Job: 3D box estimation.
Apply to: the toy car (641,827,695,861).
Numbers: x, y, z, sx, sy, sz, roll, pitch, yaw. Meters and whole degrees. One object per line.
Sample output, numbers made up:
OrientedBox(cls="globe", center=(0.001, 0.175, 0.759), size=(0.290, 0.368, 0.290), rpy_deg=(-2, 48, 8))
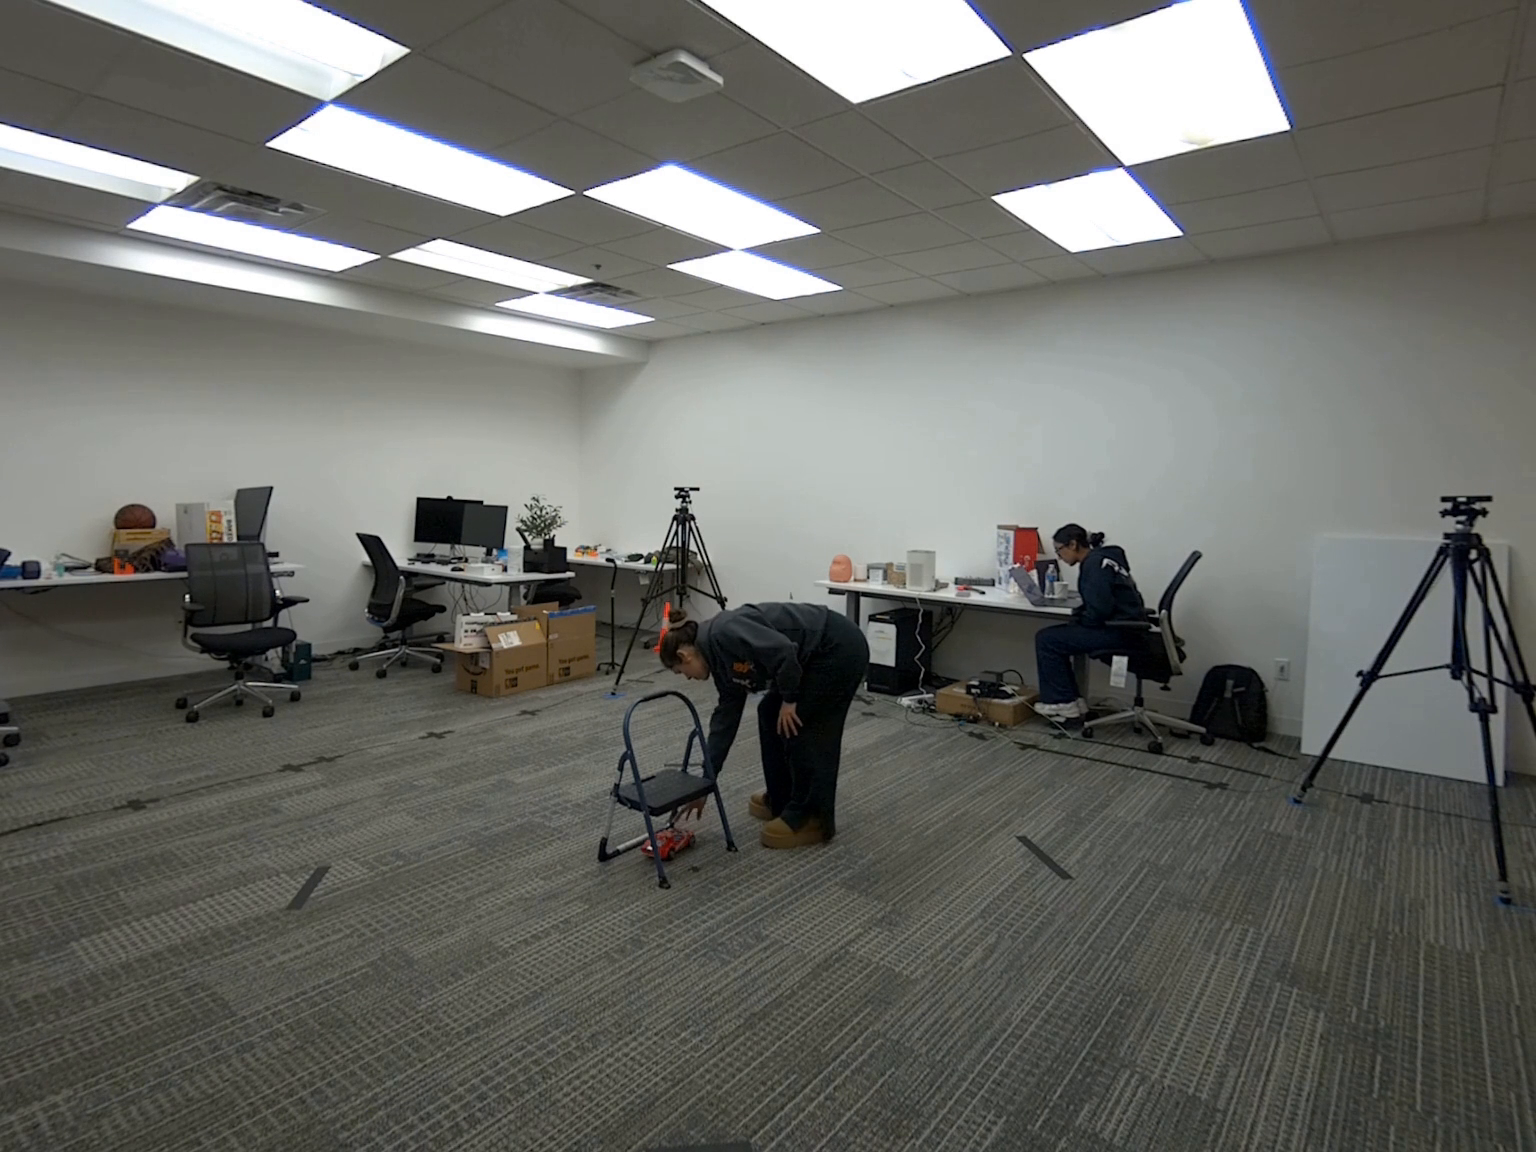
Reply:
OrientedBox(cls="toy car", center=(-0.388, 1.018, 3.241), size=(0.134, 0.083, 0.246), rpy_deg=(4, -6, 30))
